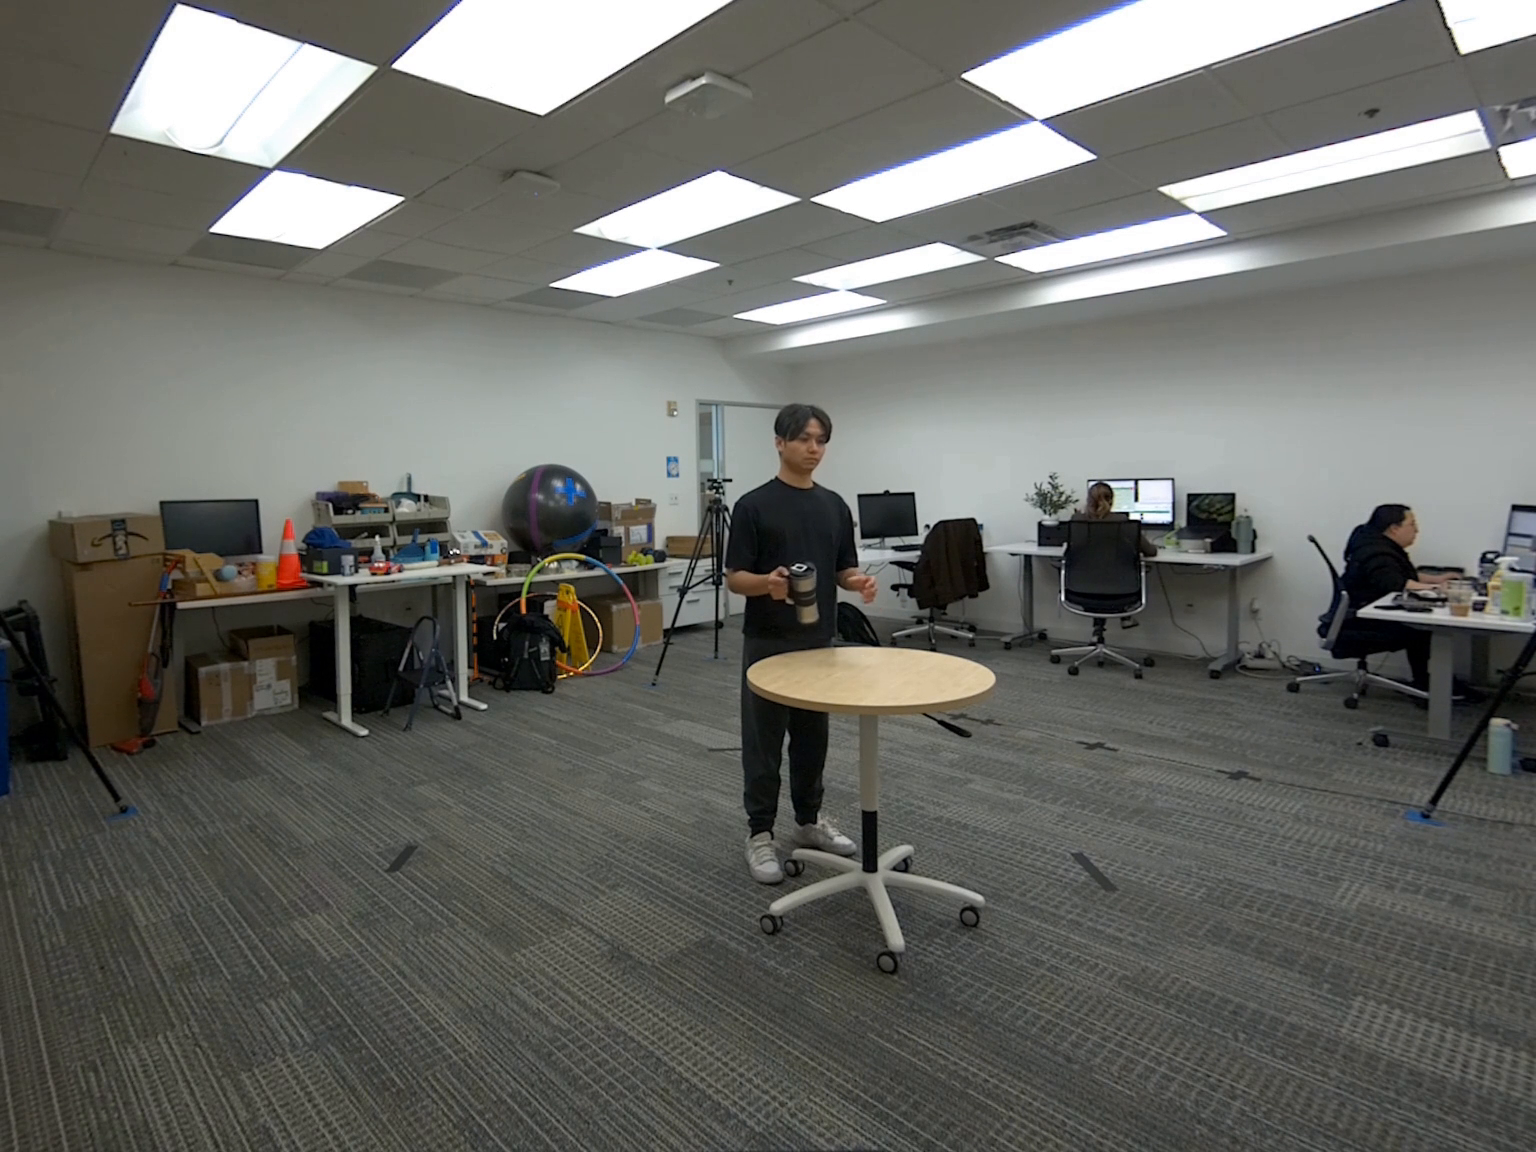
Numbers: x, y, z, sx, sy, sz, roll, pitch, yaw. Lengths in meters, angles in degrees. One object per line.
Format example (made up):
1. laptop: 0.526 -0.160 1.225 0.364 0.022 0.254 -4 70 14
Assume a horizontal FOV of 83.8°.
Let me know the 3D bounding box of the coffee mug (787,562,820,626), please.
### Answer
1. coffee mug: 0.113 0.057 2.817 0.126 0.198 0.087 12 32 30
